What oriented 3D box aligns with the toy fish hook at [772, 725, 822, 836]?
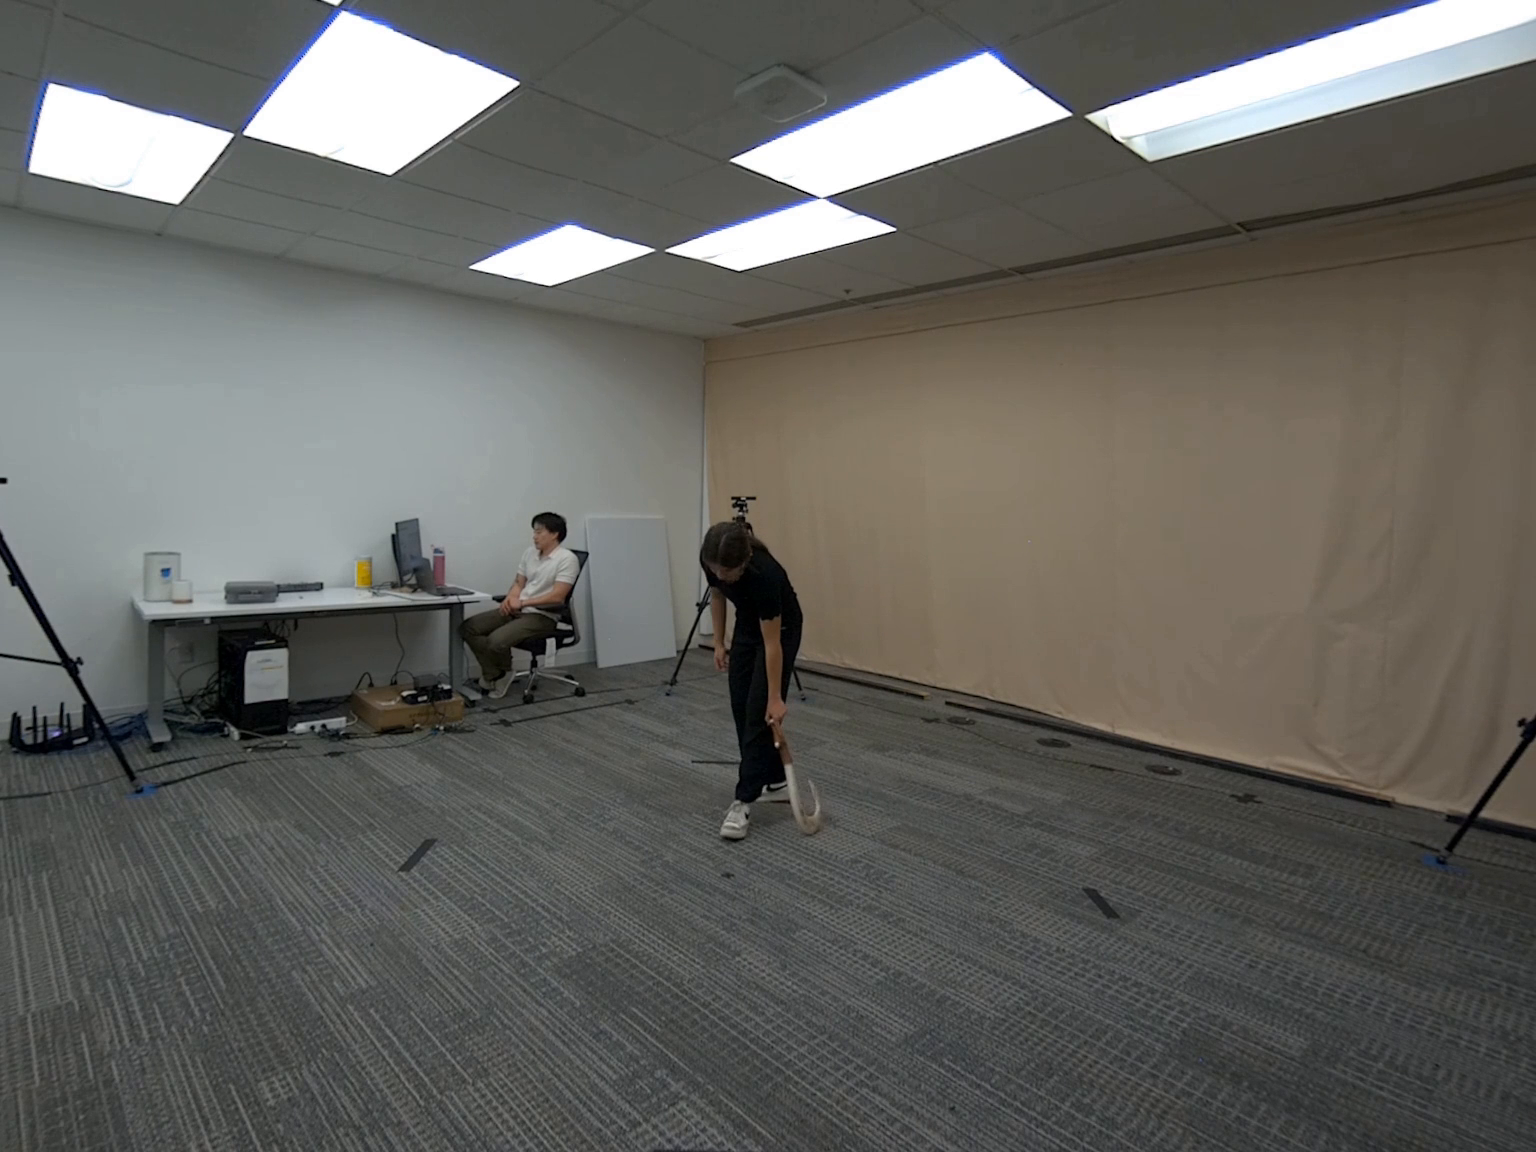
[{"bbox_3d":[0.112,0.841,3.578,0.049,0.510,0.221,-19,-6,20],"label":"toy fish hook"}]
